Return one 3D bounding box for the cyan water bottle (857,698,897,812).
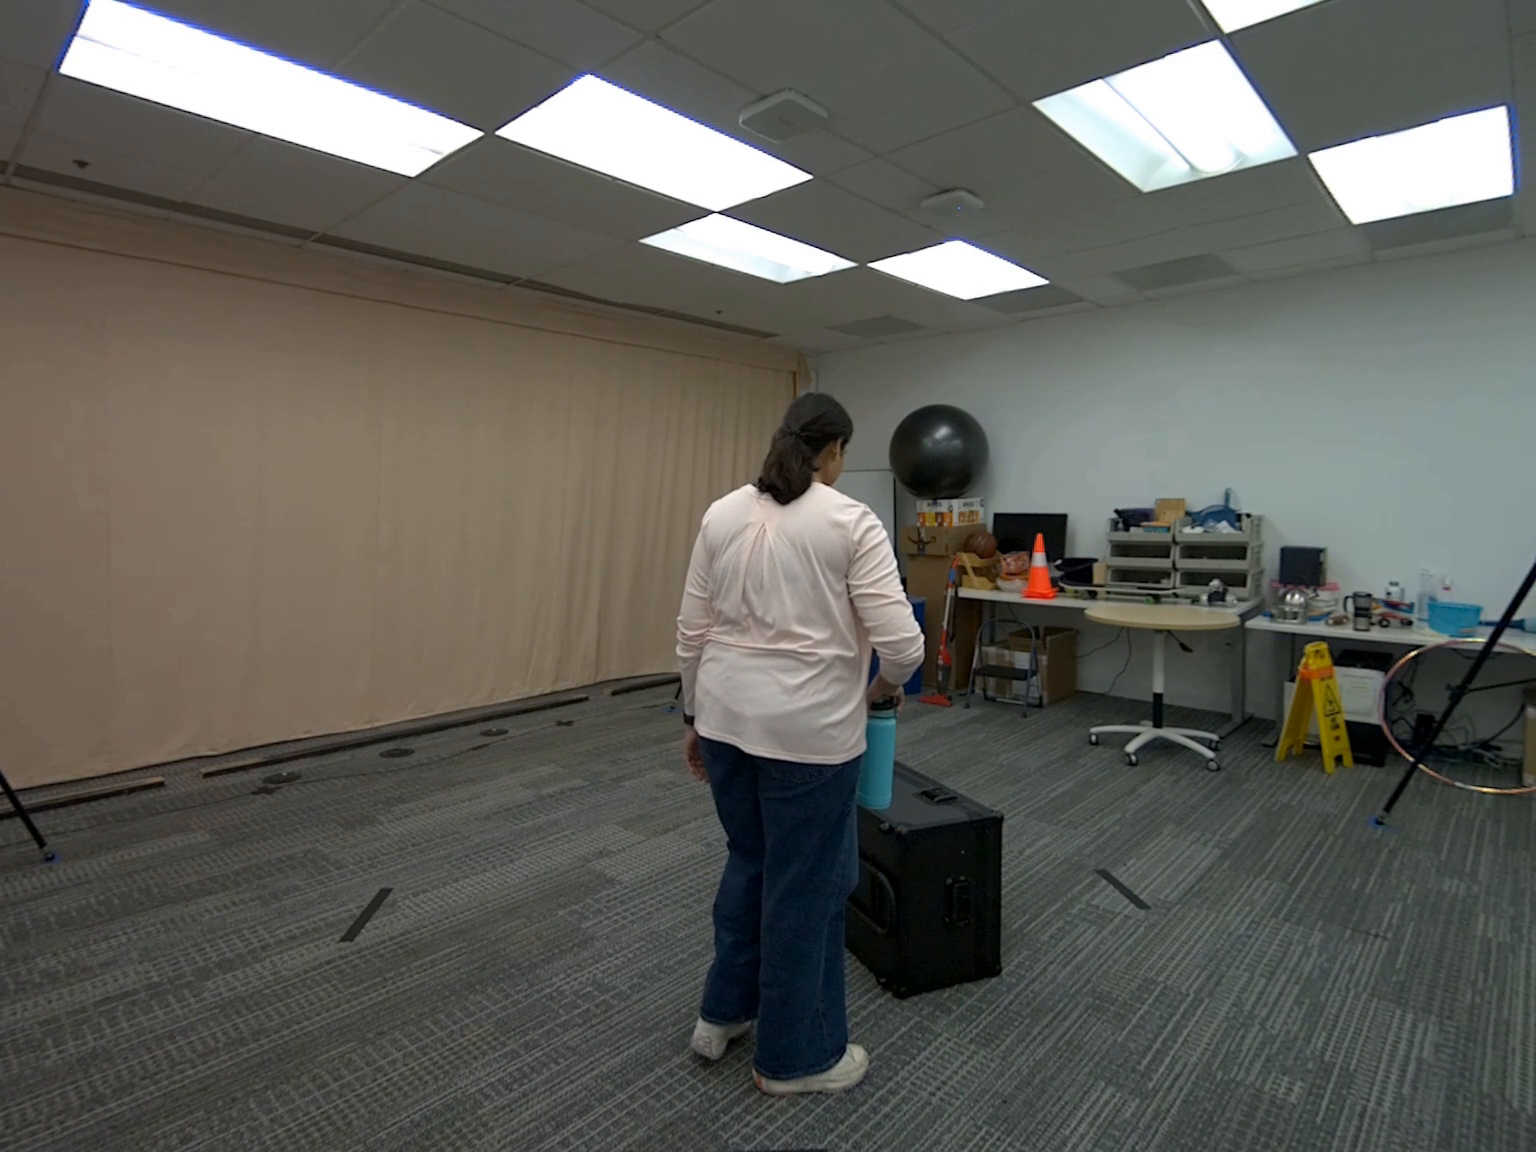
[{"bbox_3d":[0.278,0.440,2.113,0.092,0.283,0.093,4,4,-2],"label":"cyan water bottle"}]
